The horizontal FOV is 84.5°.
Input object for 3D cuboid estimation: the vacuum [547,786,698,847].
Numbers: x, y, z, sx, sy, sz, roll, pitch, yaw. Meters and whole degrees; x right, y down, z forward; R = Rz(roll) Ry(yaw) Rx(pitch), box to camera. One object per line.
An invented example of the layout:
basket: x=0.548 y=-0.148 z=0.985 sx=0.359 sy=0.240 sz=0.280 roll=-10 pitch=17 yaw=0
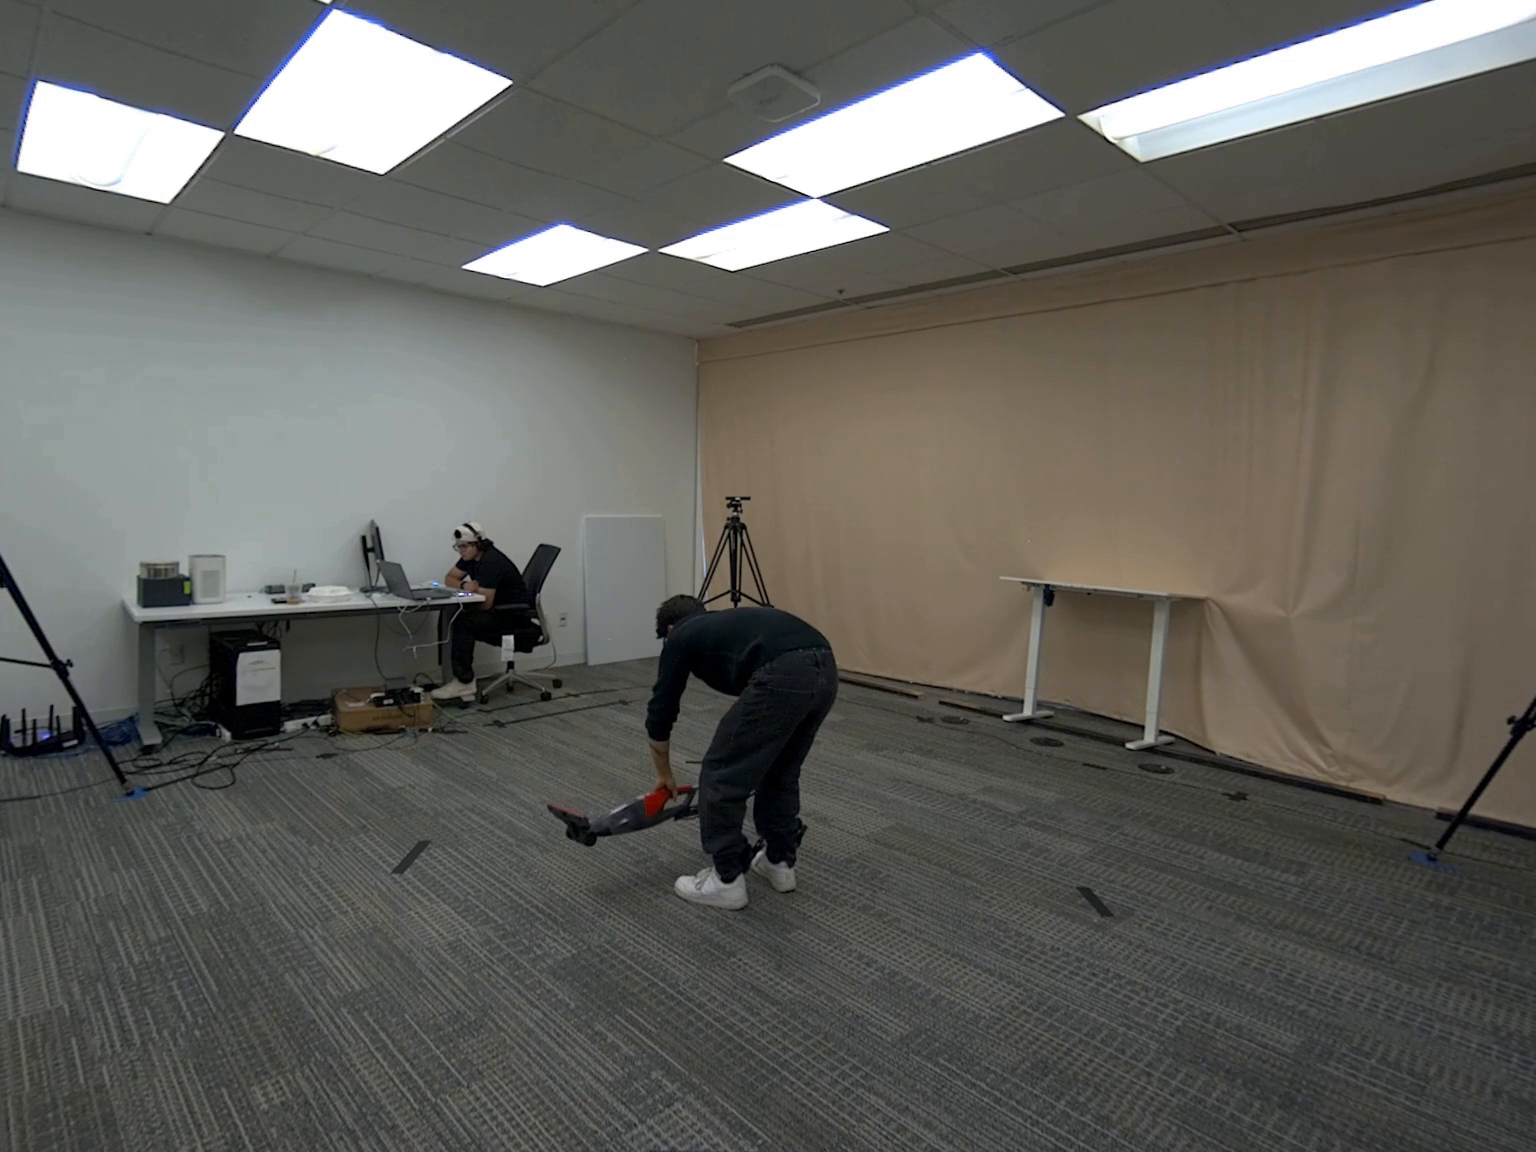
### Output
vacuum: x=-0.308 y=0.870 z=3.275 sx=1.025 sy=0.144 sz=0.258 roll=0 pitch=-1 yaw=-39
